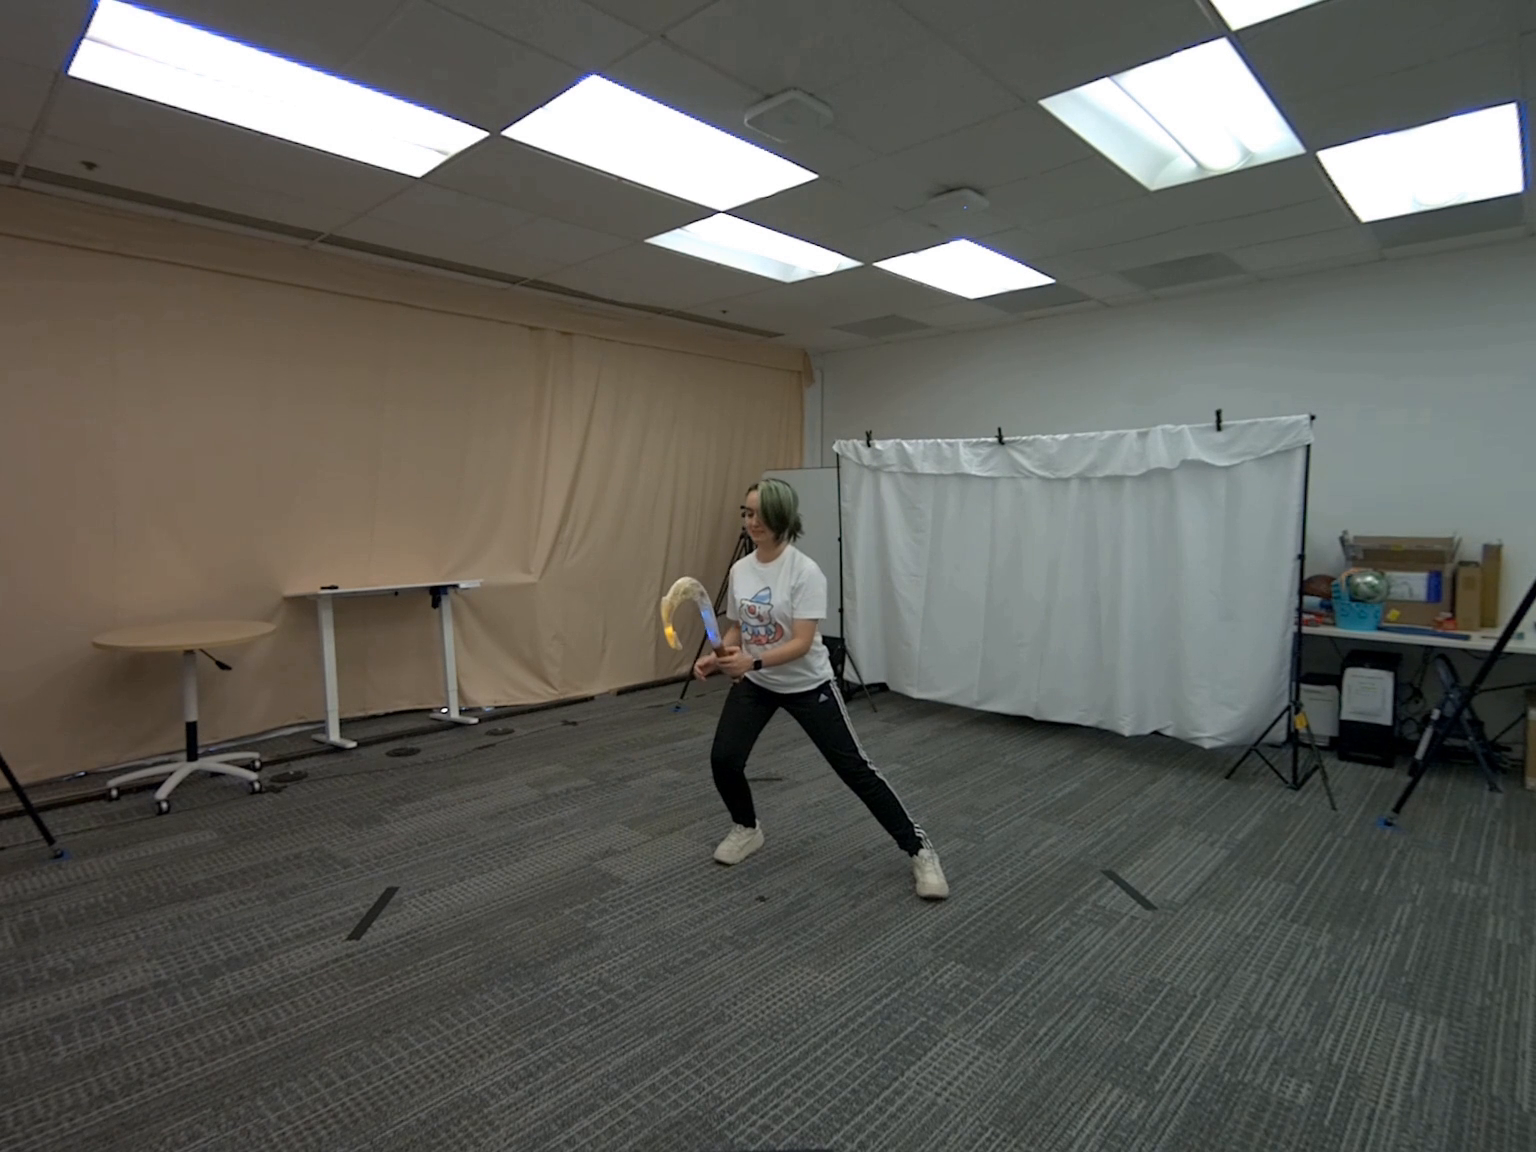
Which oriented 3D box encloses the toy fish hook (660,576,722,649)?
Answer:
[{"bbox_3d":[-0.214,0.222,2.849,0.050,0.492,0.223,12,50,44],"label":"toy fish hook"}]
